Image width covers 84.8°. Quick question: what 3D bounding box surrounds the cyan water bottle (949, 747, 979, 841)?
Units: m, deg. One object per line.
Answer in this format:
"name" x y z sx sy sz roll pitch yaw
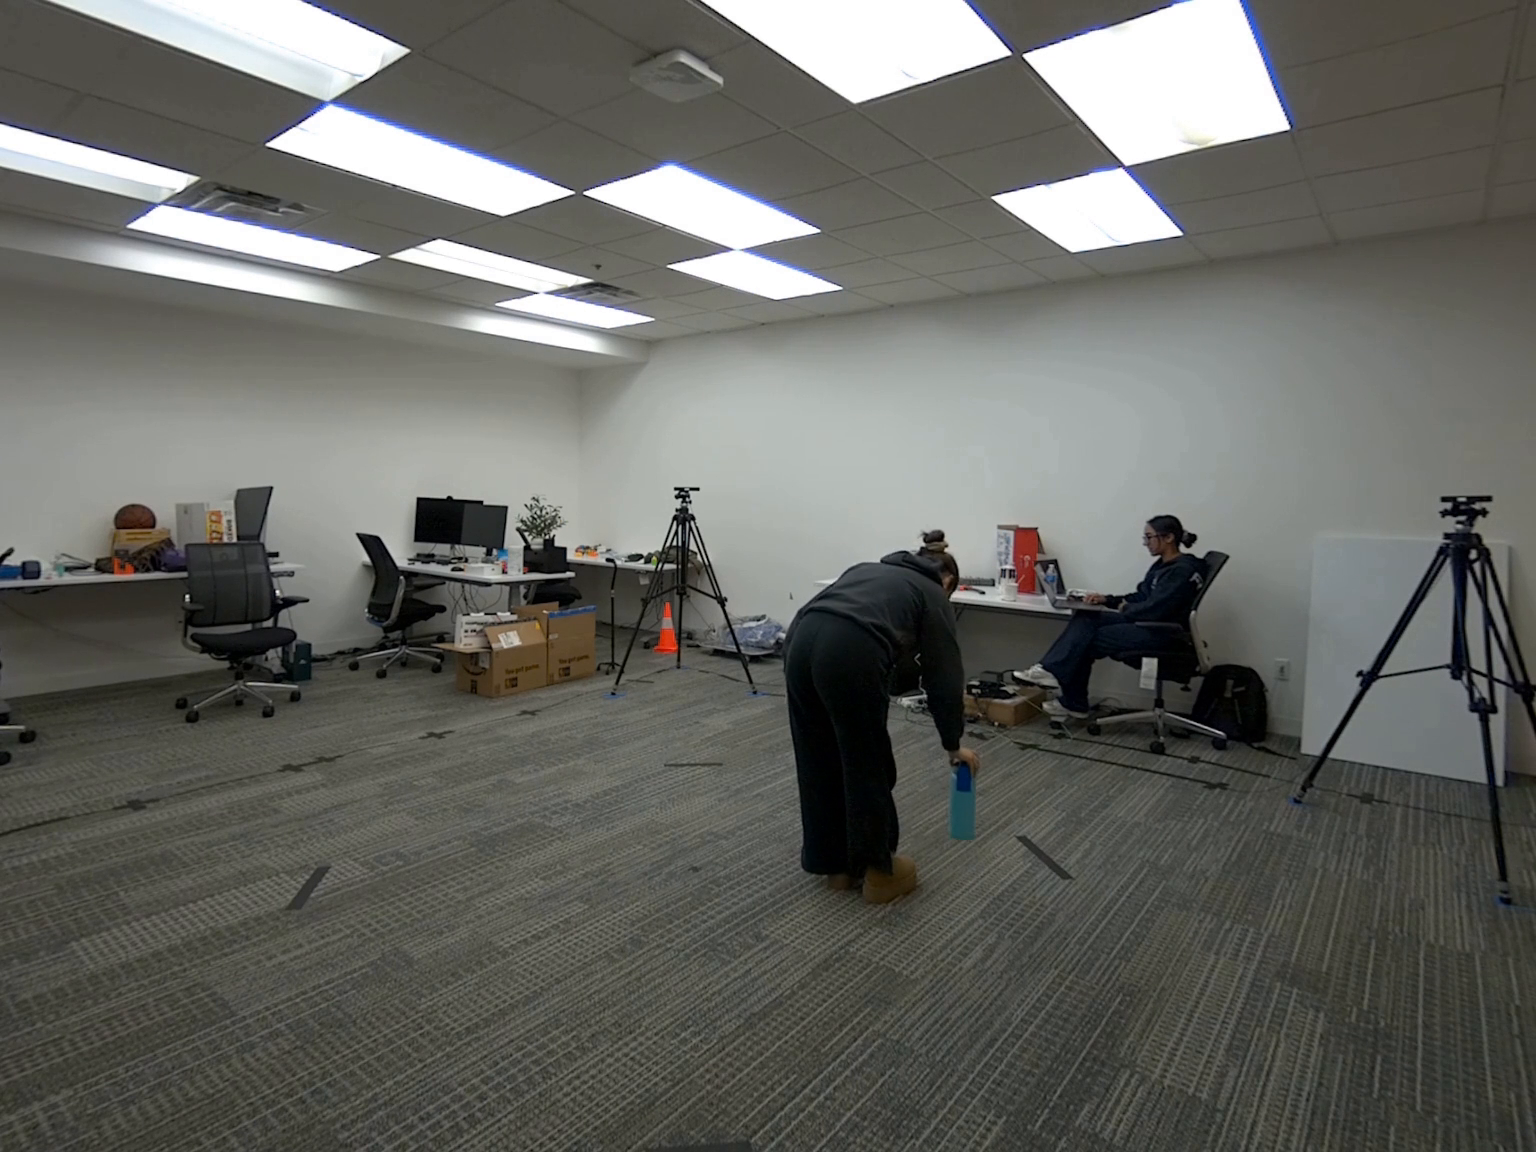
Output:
"cyan water bottle" 0.699 0.780 3.036 0.092 0.283 0.093 2 2 -2
